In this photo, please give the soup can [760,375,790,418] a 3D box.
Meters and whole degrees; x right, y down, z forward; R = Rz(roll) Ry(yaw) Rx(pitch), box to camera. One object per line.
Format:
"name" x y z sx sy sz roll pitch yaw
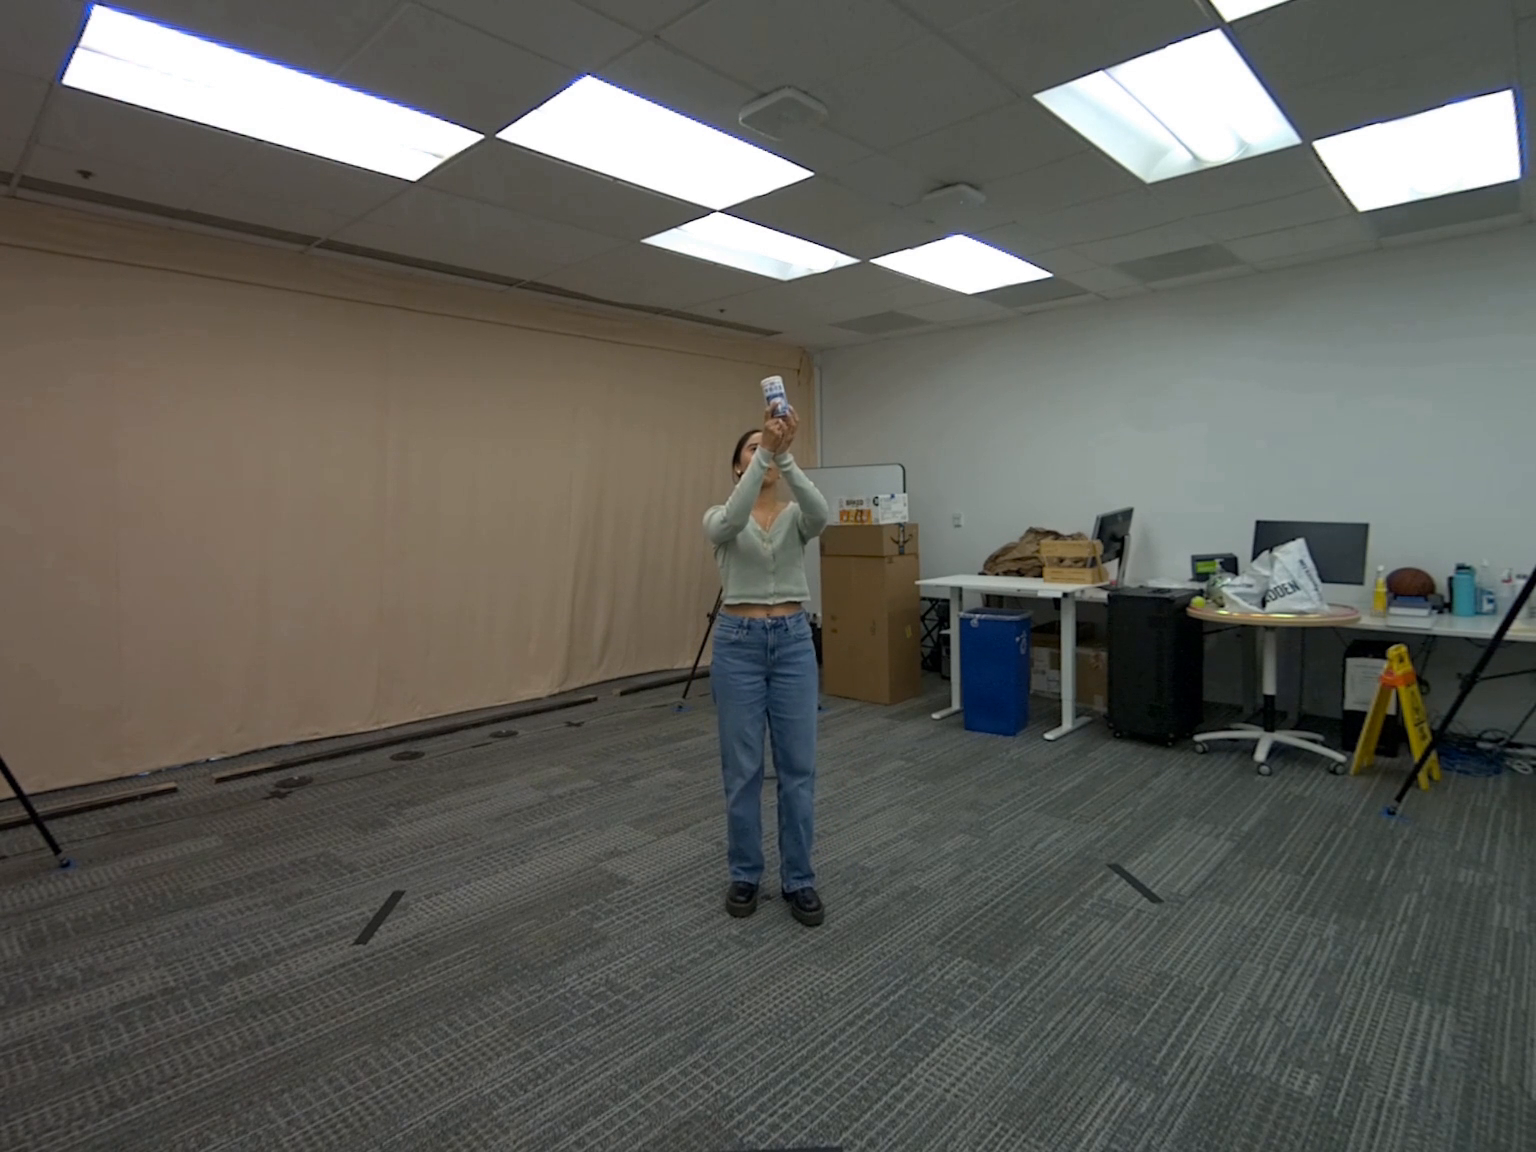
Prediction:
"soup can" 0.021 -0.541 2.559 0.067 0.121 0.067 -10 1 -2
